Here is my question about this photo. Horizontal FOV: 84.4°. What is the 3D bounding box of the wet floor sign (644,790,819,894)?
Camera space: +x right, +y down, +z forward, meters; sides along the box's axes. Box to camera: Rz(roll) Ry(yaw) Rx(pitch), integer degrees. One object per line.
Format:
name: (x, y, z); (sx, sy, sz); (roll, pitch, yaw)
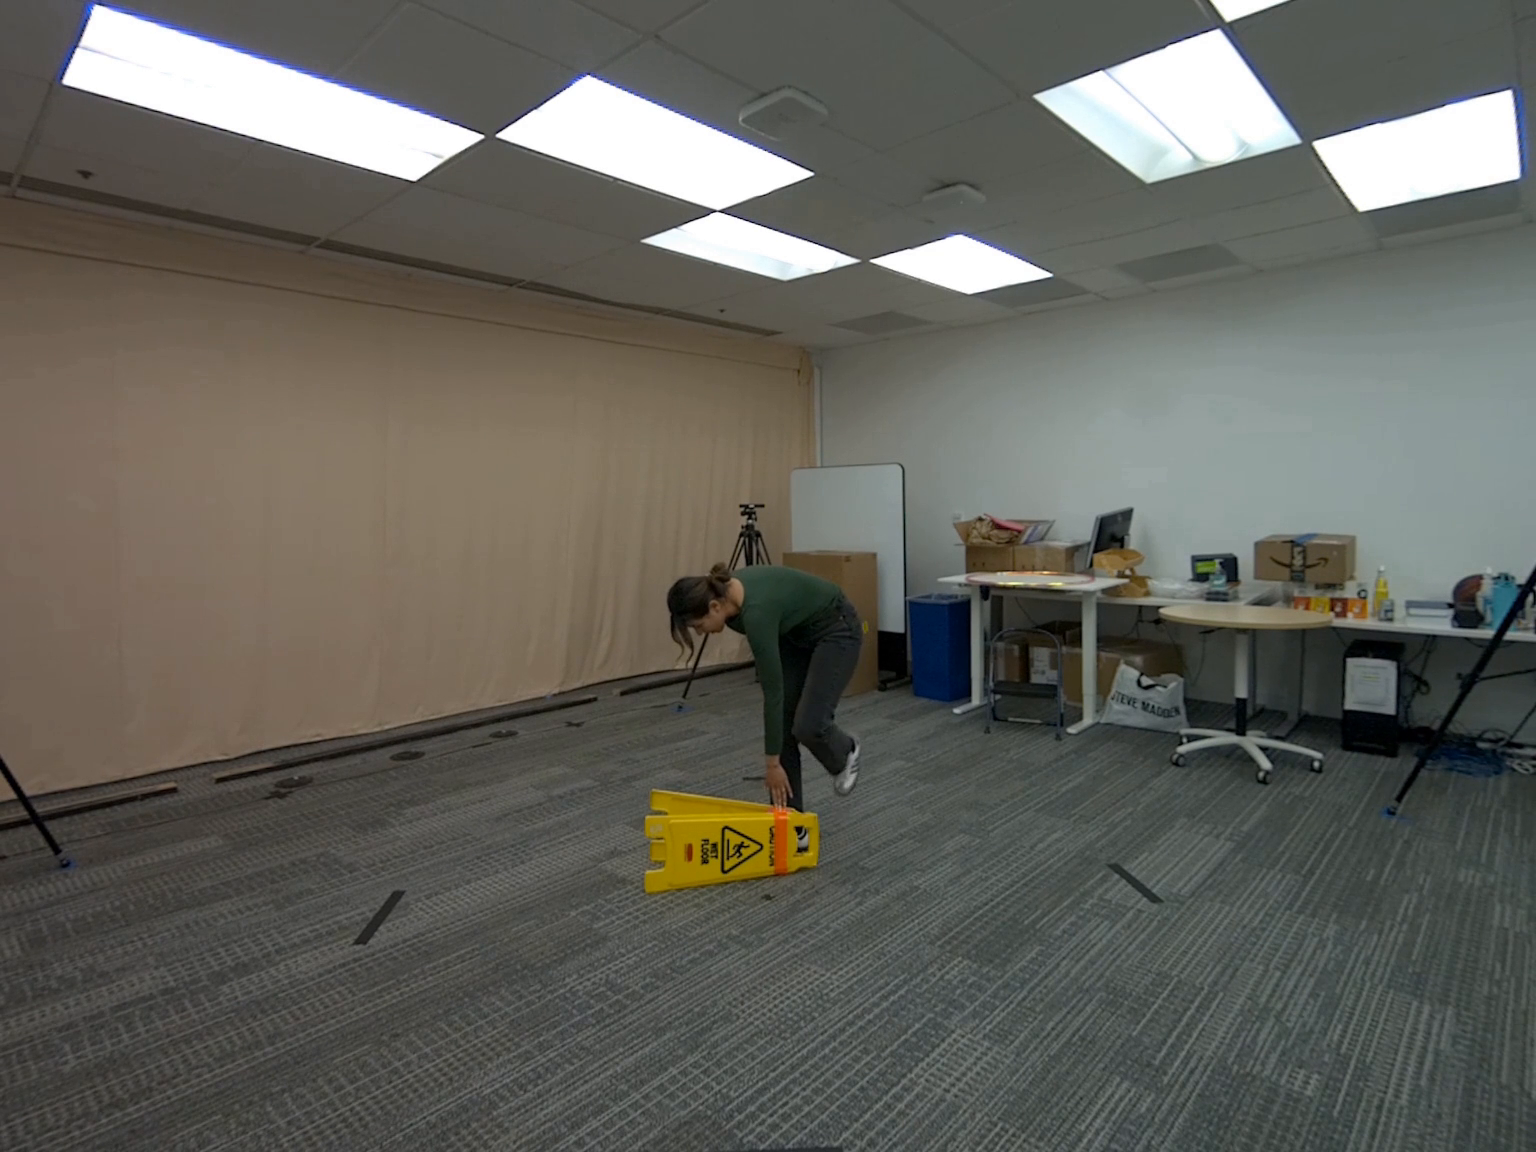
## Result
wet floor sign: (-0.130, 0.991, 3.181); (0.645, 0.282, 0.291); (1, 3, -1)
